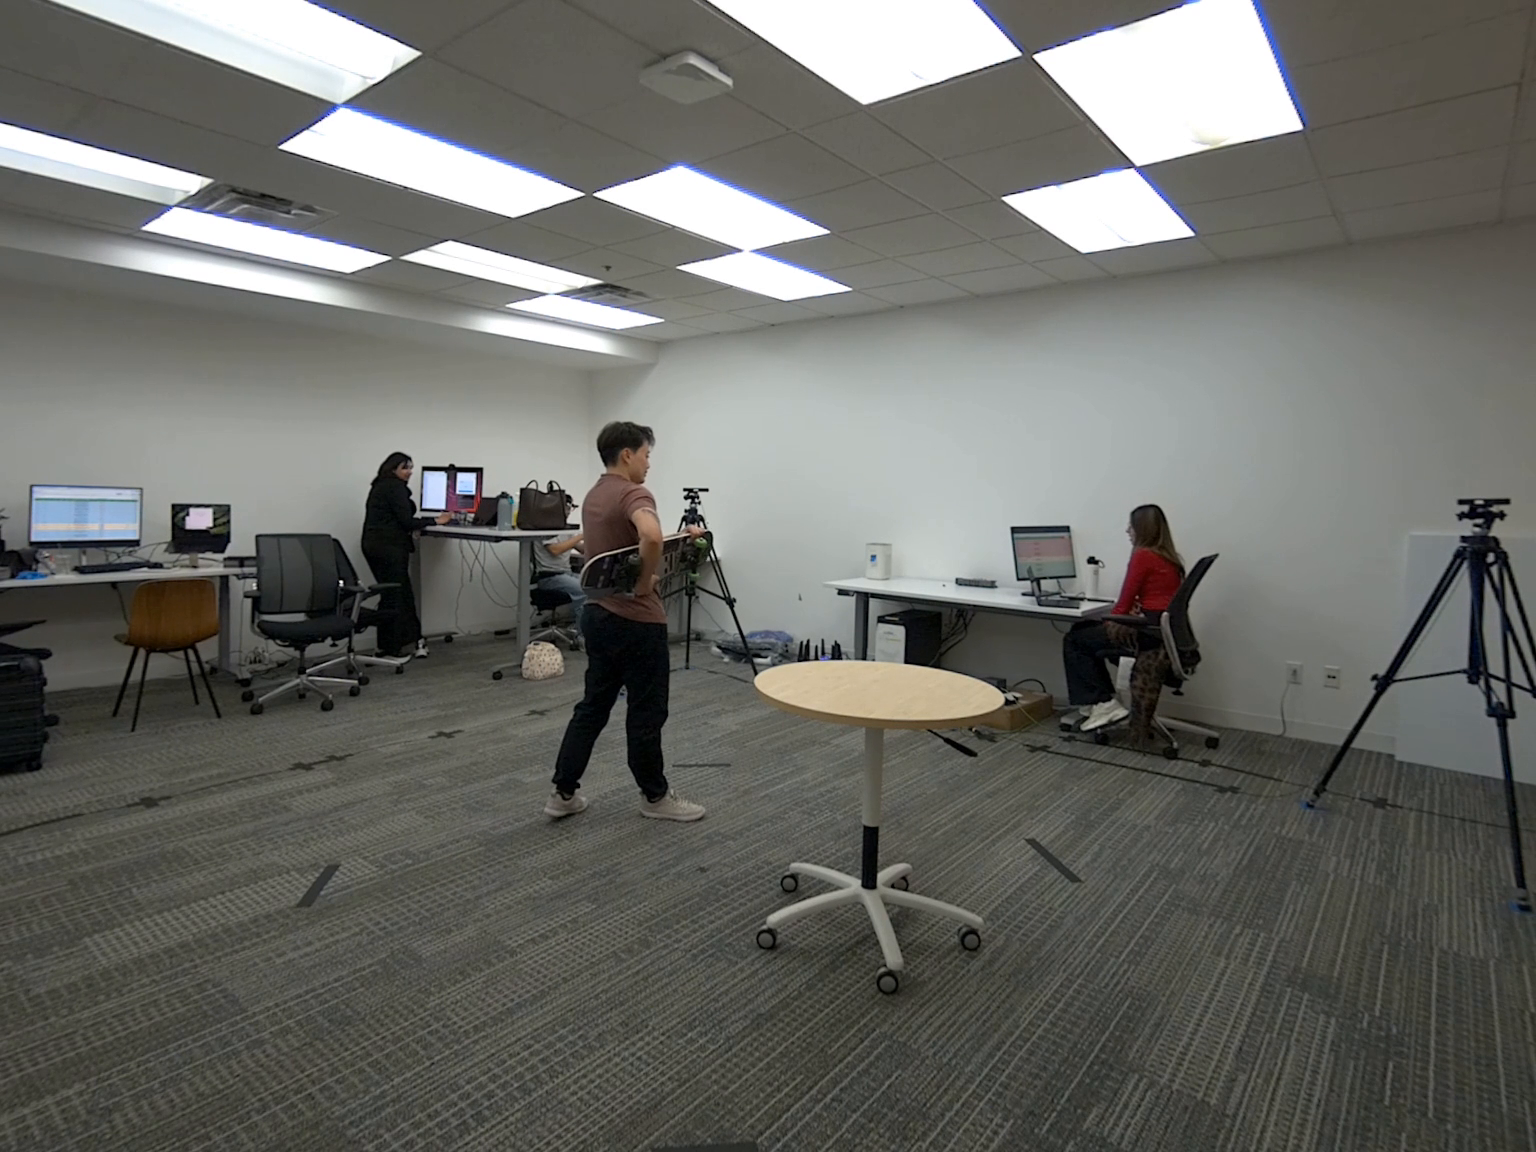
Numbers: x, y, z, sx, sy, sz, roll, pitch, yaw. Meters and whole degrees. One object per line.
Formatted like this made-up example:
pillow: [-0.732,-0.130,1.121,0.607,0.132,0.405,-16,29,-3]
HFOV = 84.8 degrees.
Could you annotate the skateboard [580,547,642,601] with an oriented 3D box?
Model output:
skateboard: [-0.444,-0.043,3.464,0.114,0.191,0.769,26,26,27]
